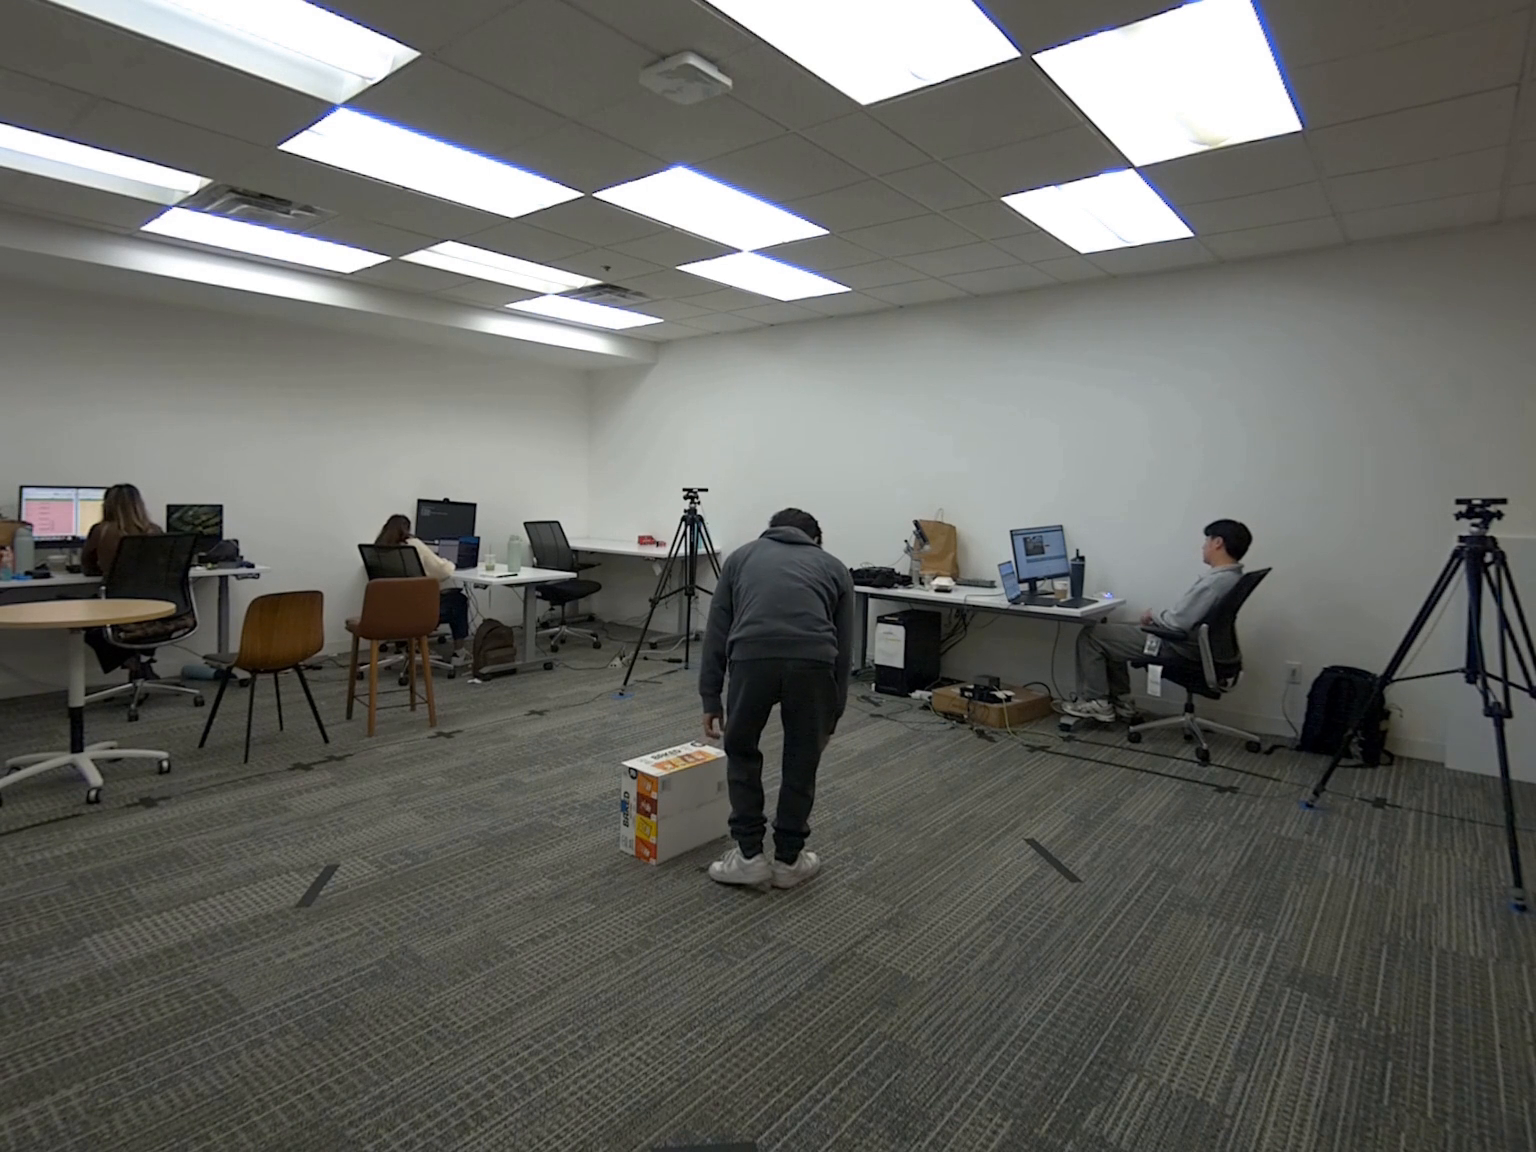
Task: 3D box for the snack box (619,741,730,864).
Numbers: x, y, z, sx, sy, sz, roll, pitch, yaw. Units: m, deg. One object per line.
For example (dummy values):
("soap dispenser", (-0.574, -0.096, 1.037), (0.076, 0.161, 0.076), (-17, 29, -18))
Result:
("snack box", (-0.374, 0.878, 3.336), (0.213, 0.339, 0.393), (6, 6, 40))
